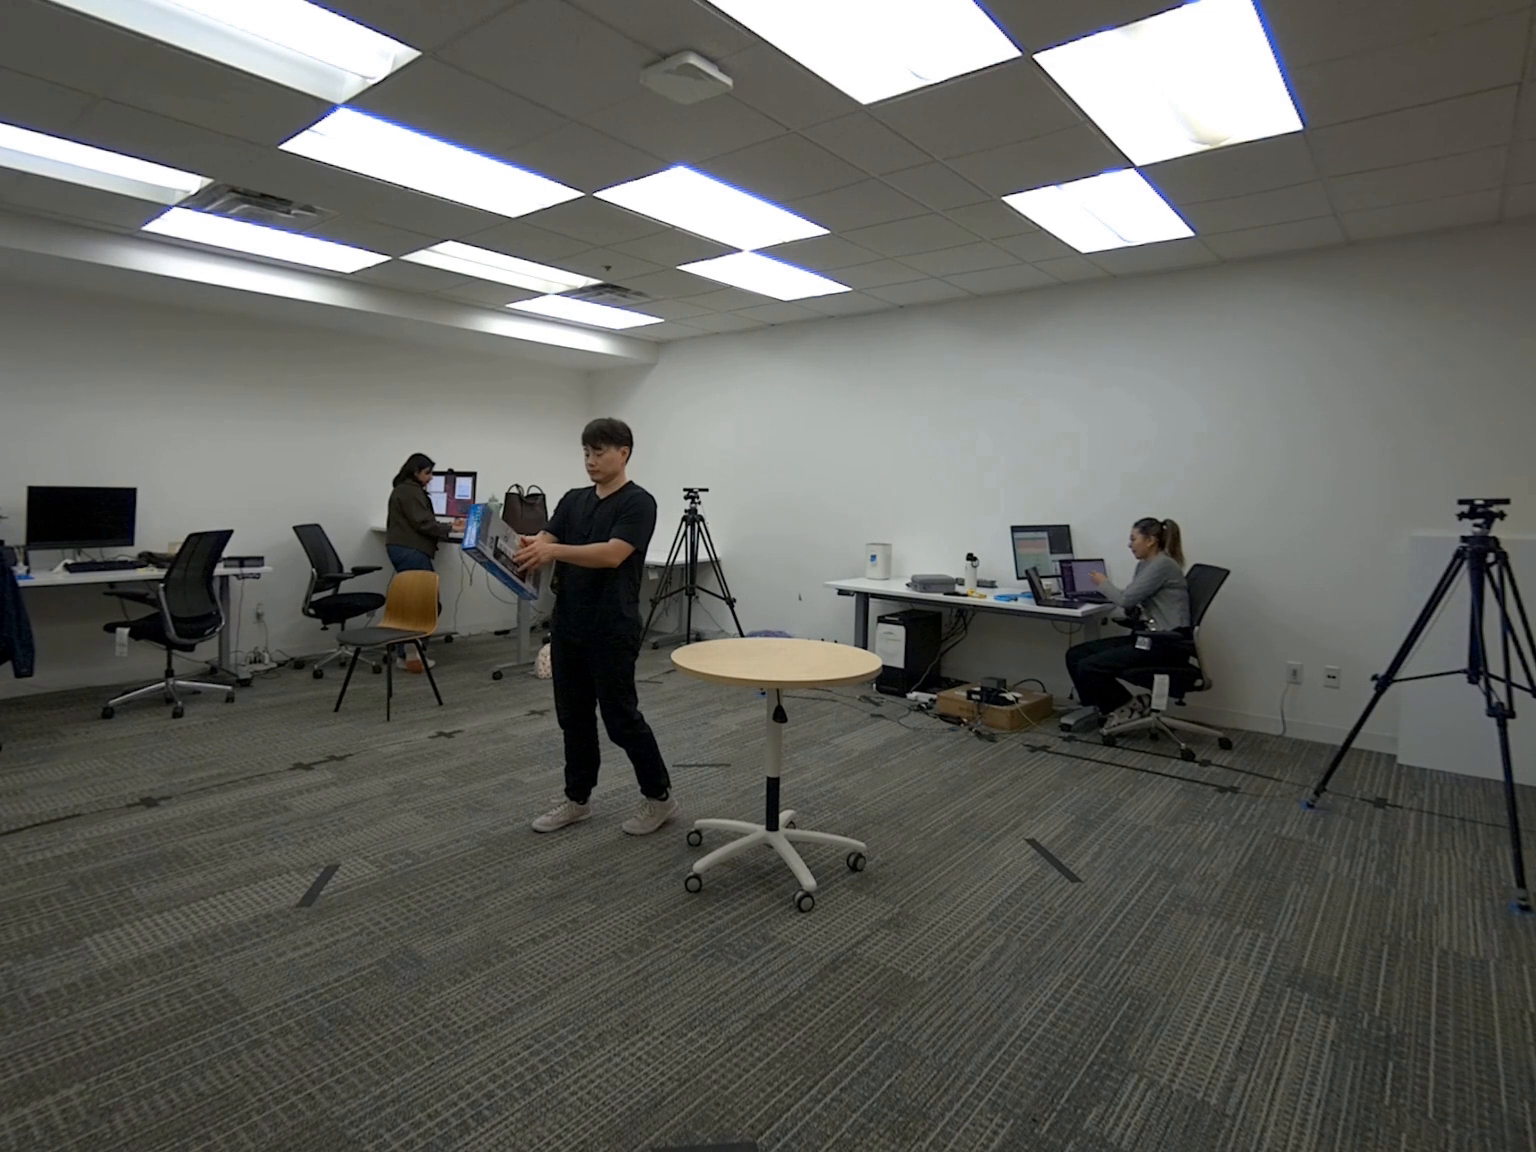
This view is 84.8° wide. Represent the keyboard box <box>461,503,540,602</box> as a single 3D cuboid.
[{"bbox_3d":[-0.949,-0.077,3.036,0.060,0.180,0.421,-6,-28,12],"label":"keyboard box"}]
